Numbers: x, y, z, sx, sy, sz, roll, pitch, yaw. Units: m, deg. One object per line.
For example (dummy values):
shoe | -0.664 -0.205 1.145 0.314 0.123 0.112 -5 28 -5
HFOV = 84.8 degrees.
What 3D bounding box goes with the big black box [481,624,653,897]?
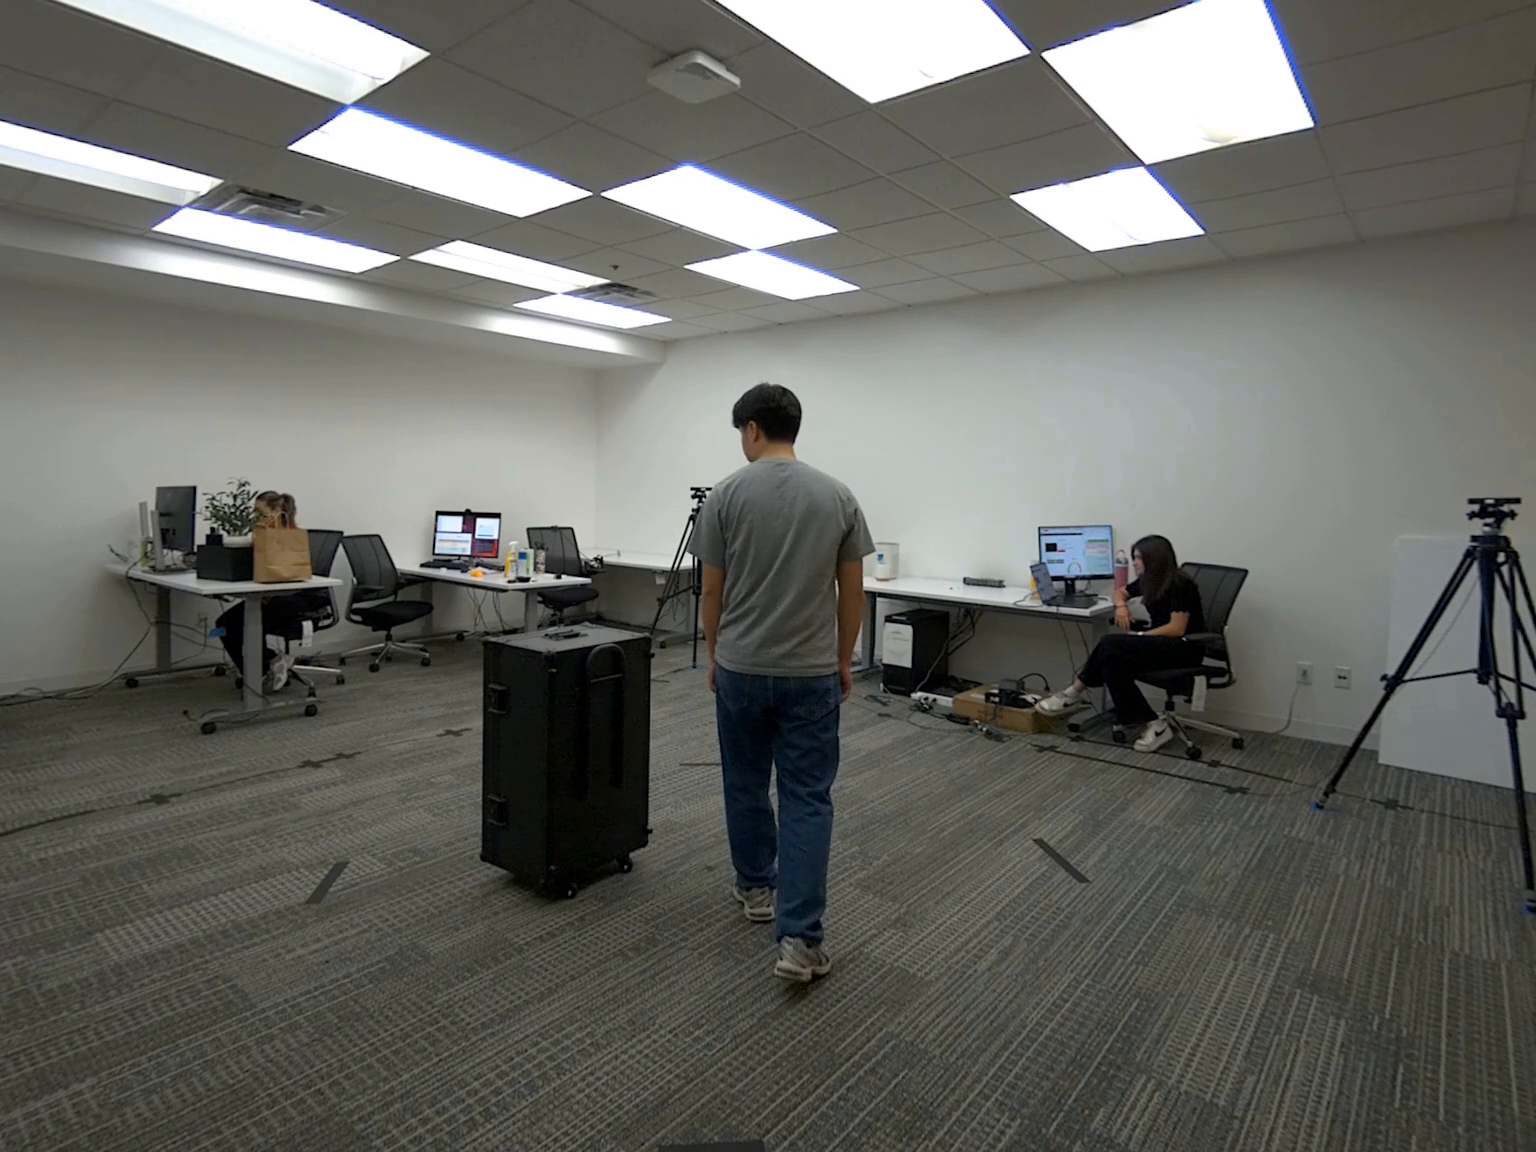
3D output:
big black box | -0.717 0.639 3.034 0.409 0.858 0.506 5 5 37
